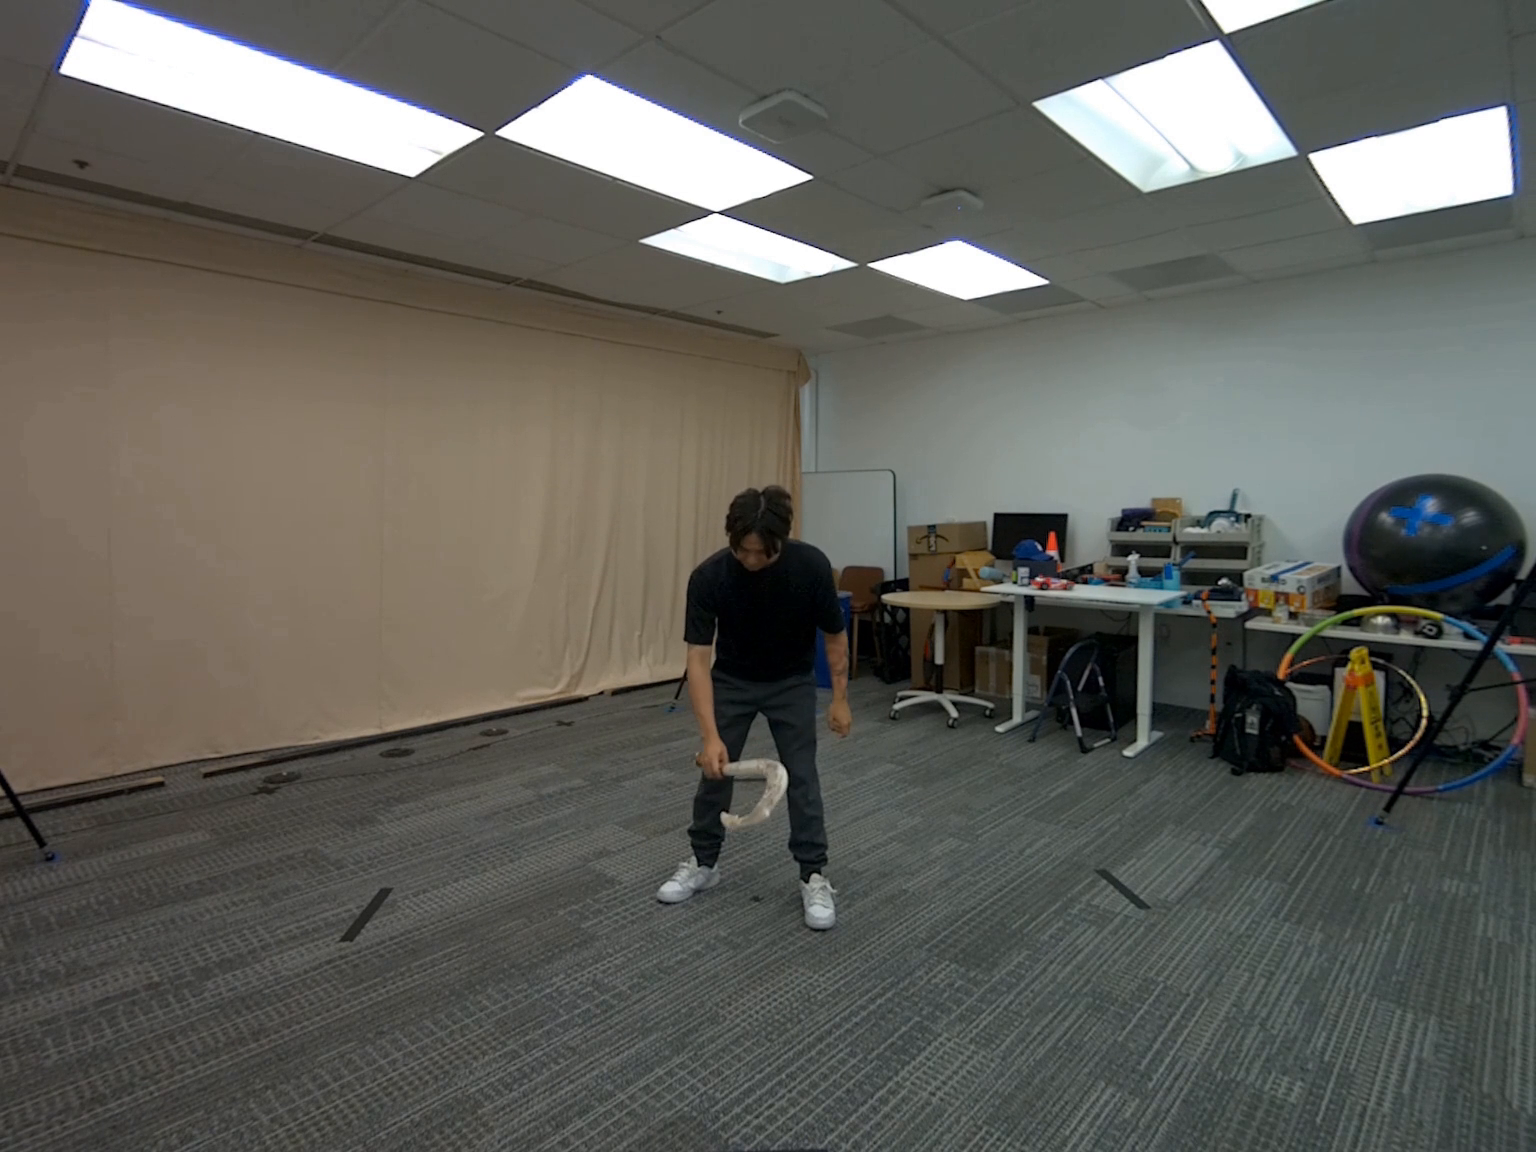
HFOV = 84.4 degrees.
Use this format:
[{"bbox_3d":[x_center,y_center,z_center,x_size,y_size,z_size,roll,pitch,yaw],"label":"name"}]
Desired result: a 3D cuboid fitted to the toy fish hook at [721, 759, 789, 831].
[{"bbox_3d":[-0.117,0.625,2.500,0.223,0.047,0.519,-52,21,-23],"label":"toy fish hook"}]
